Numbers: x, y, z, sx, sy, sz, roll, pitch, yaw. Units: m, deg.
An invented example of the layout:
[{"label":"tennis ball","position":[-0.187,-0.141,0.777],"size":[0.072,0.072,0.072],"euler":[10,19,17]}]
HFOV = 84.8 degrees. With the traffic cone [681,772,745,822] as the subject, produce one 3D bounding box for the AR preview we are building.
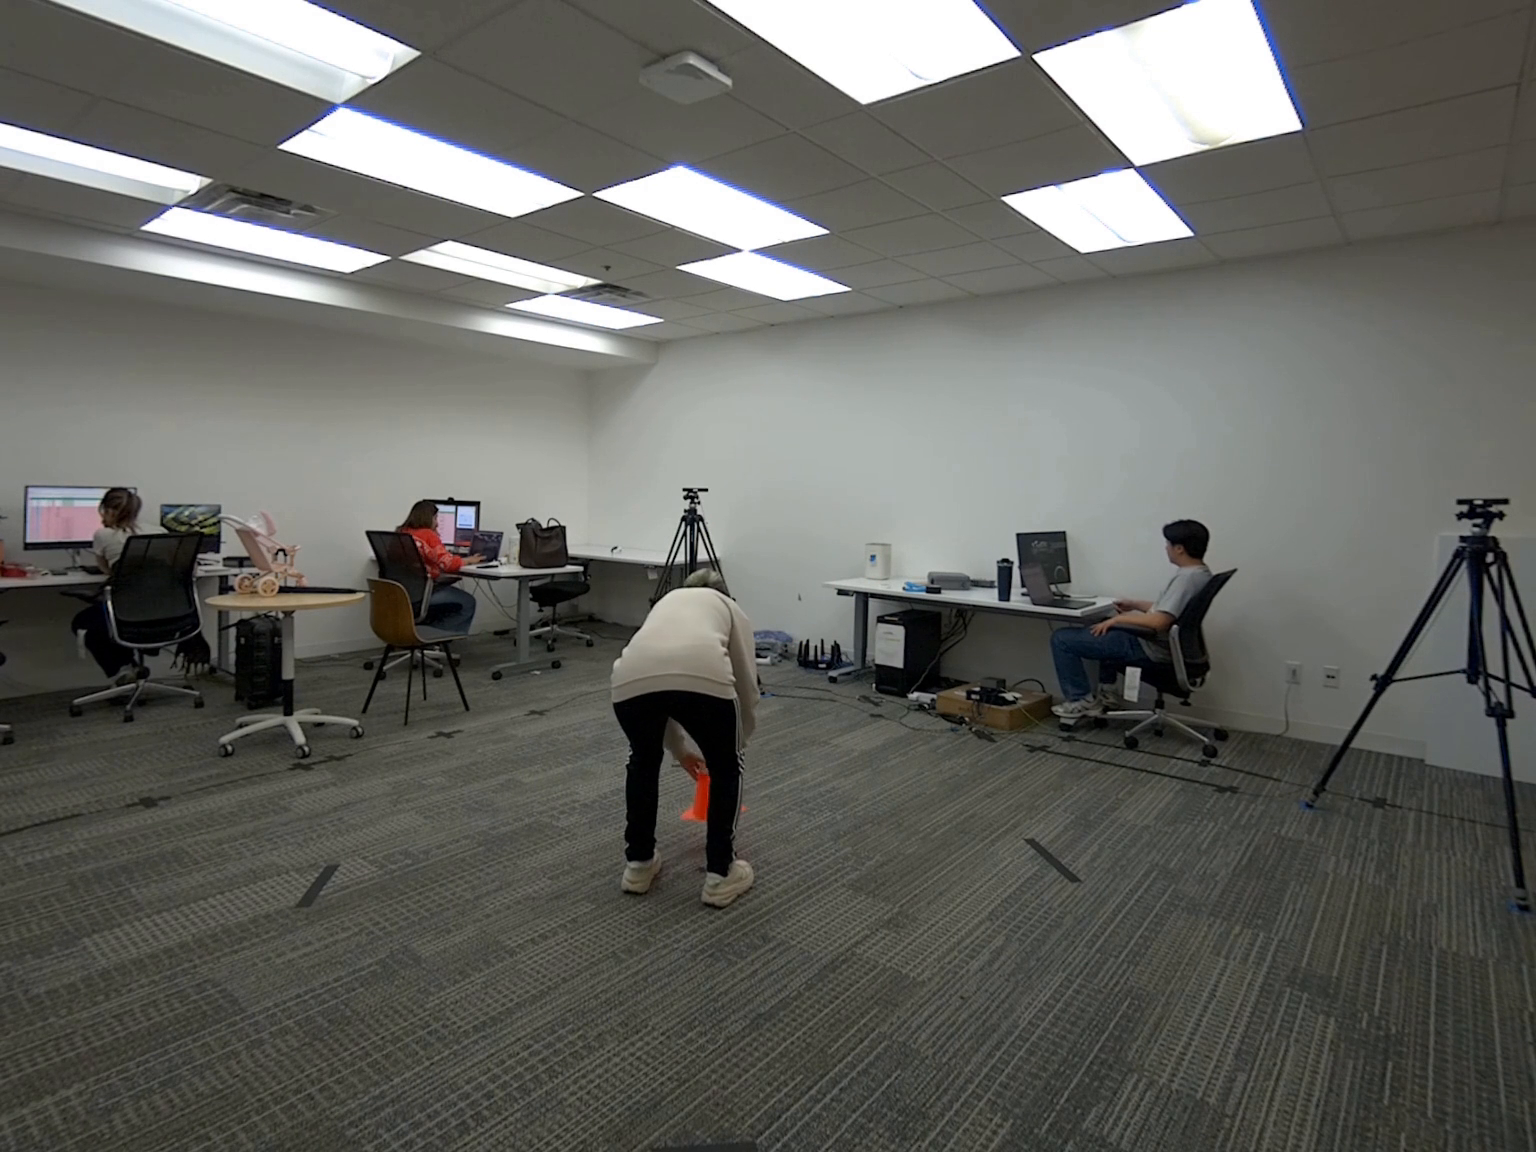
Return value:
[{"label":"traffic cone","position":[-0.231,0.719,3.291],"size":[0.211,0.382,0.198],"euler":[1,4,29]}]
